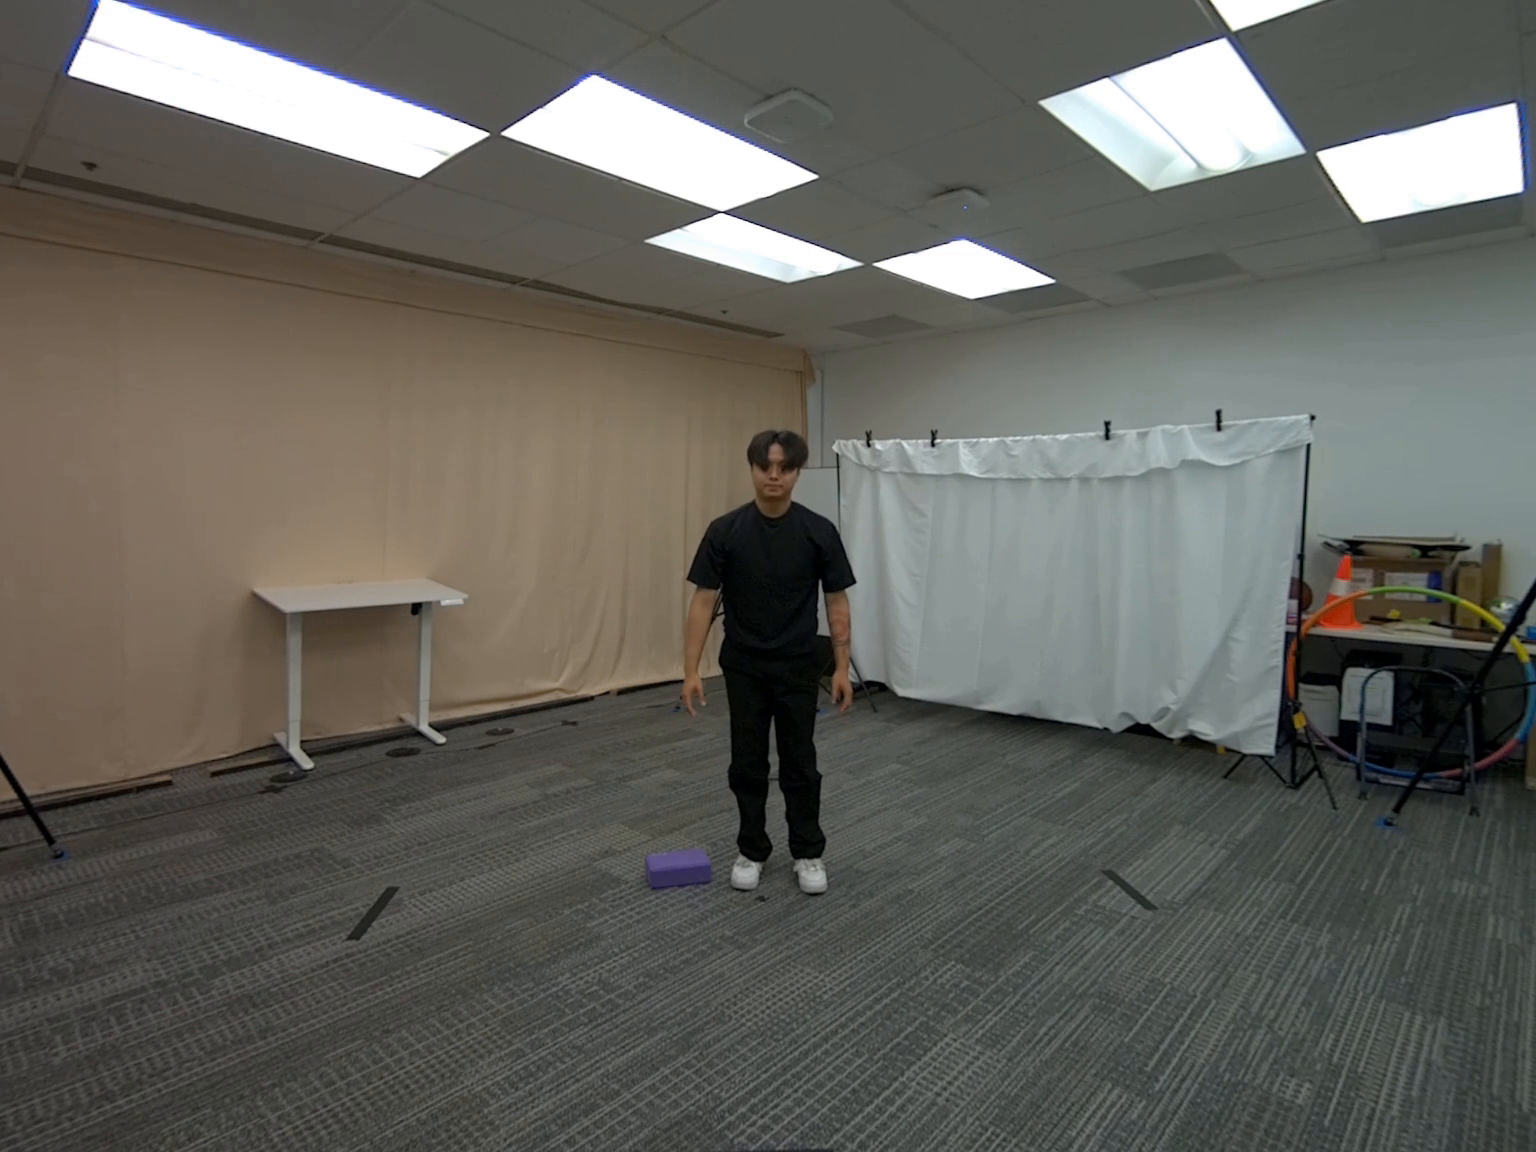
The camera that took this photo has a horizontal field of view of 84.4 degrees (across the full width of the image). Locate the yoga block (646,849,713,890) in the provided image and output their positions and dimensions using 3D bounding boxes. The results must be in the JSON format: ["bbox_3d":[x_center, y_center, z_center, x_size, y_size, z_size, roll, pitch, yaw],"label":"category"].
[{"bbox_3d":[-0.333,1.096,3.153,0.226,0.076,0.151,0,5,-14],"label":"yoga block"}]
